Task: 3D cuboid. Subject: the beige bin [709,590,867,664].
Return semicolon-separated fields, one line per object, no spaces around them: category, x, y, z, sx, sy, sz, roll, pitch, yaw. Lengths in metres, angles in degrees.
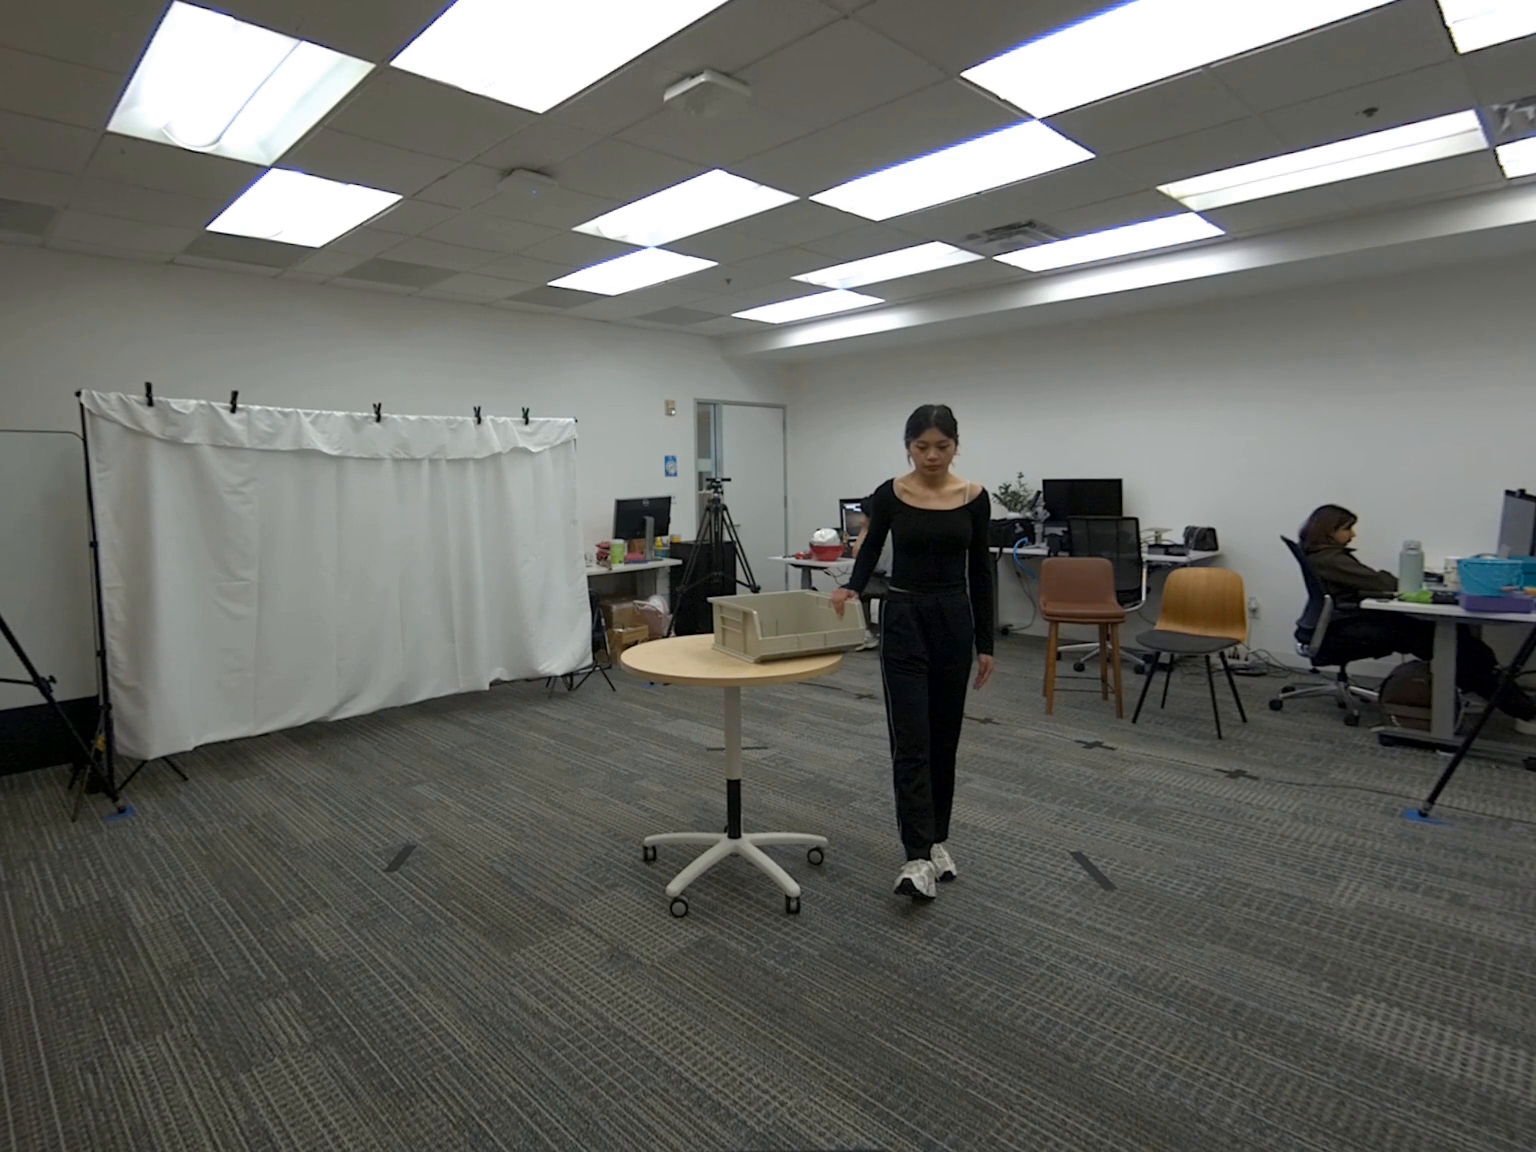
beige bin;0.060;0.170;2.977;0.413;0.188;0.386;-5;5;-26
